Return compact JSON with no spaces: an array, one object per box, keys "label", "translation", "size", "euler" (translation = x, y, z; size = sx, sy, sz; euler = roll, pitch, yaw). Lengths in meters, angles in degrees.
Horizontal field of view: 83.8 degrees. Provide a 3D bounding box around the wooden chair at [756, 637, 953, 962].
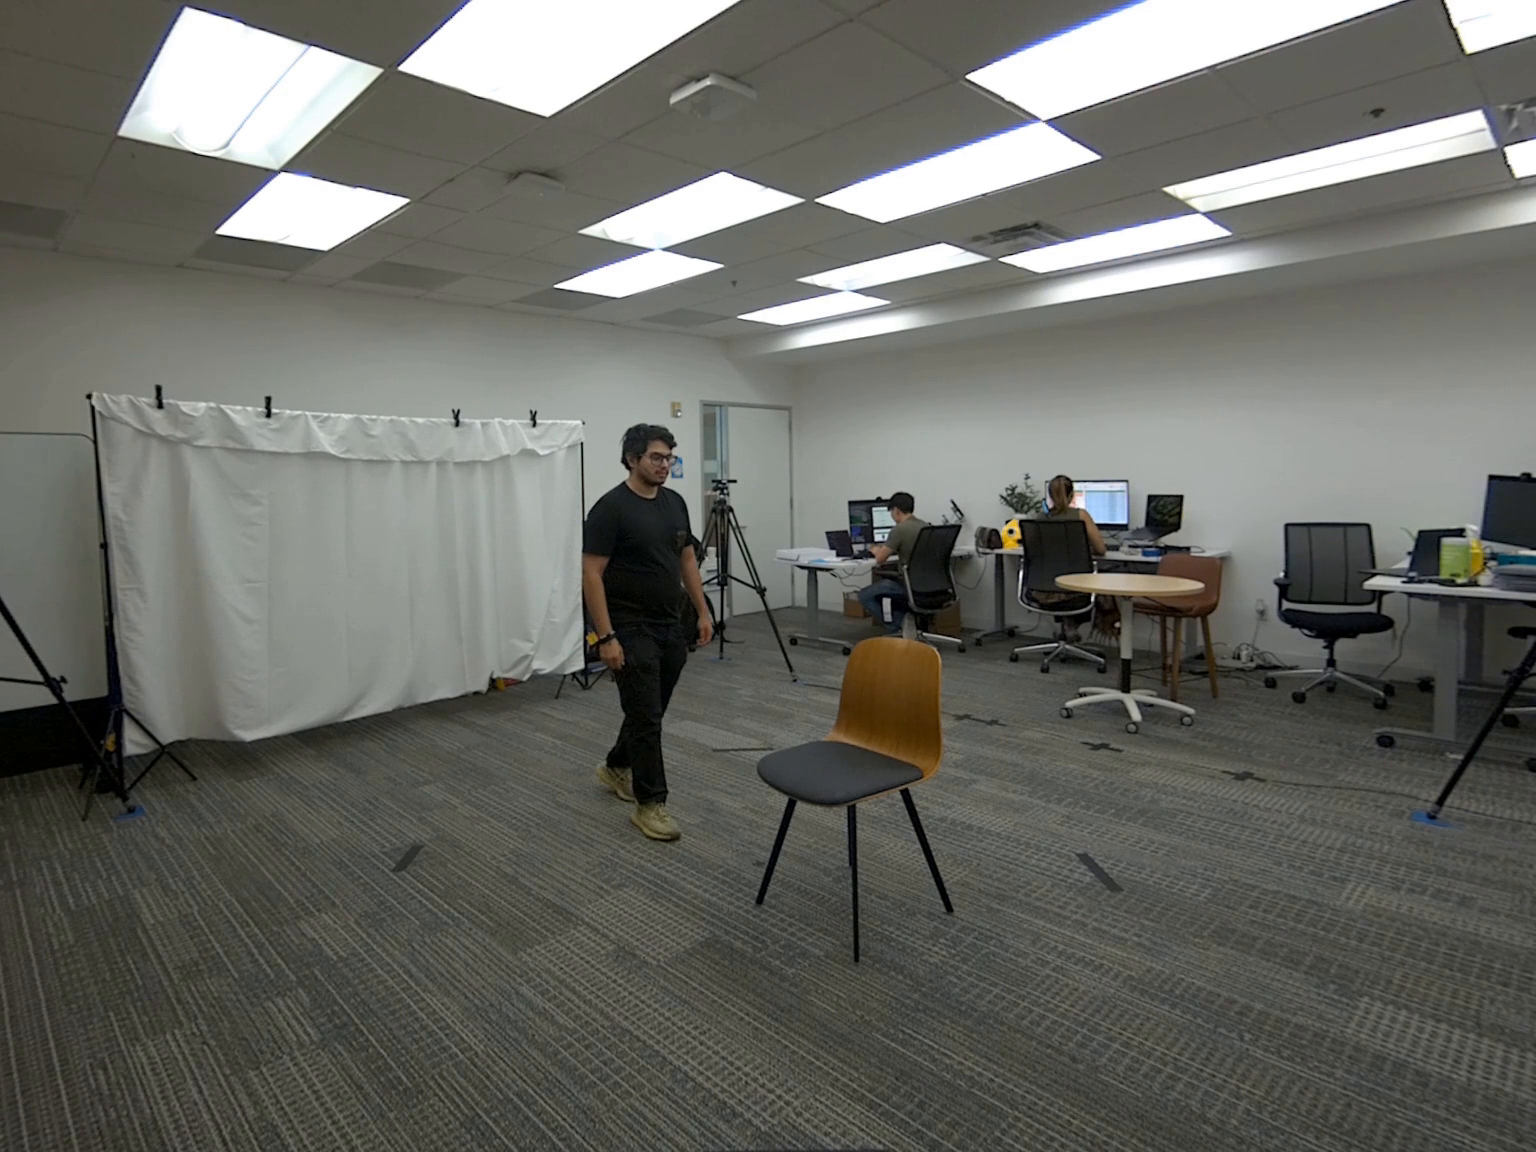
[{"label":"wooden chair","translation":[0.263,0.654,2.738],"size":[0.508,0.876,0.493],"euler":[1,2,-39]}]
